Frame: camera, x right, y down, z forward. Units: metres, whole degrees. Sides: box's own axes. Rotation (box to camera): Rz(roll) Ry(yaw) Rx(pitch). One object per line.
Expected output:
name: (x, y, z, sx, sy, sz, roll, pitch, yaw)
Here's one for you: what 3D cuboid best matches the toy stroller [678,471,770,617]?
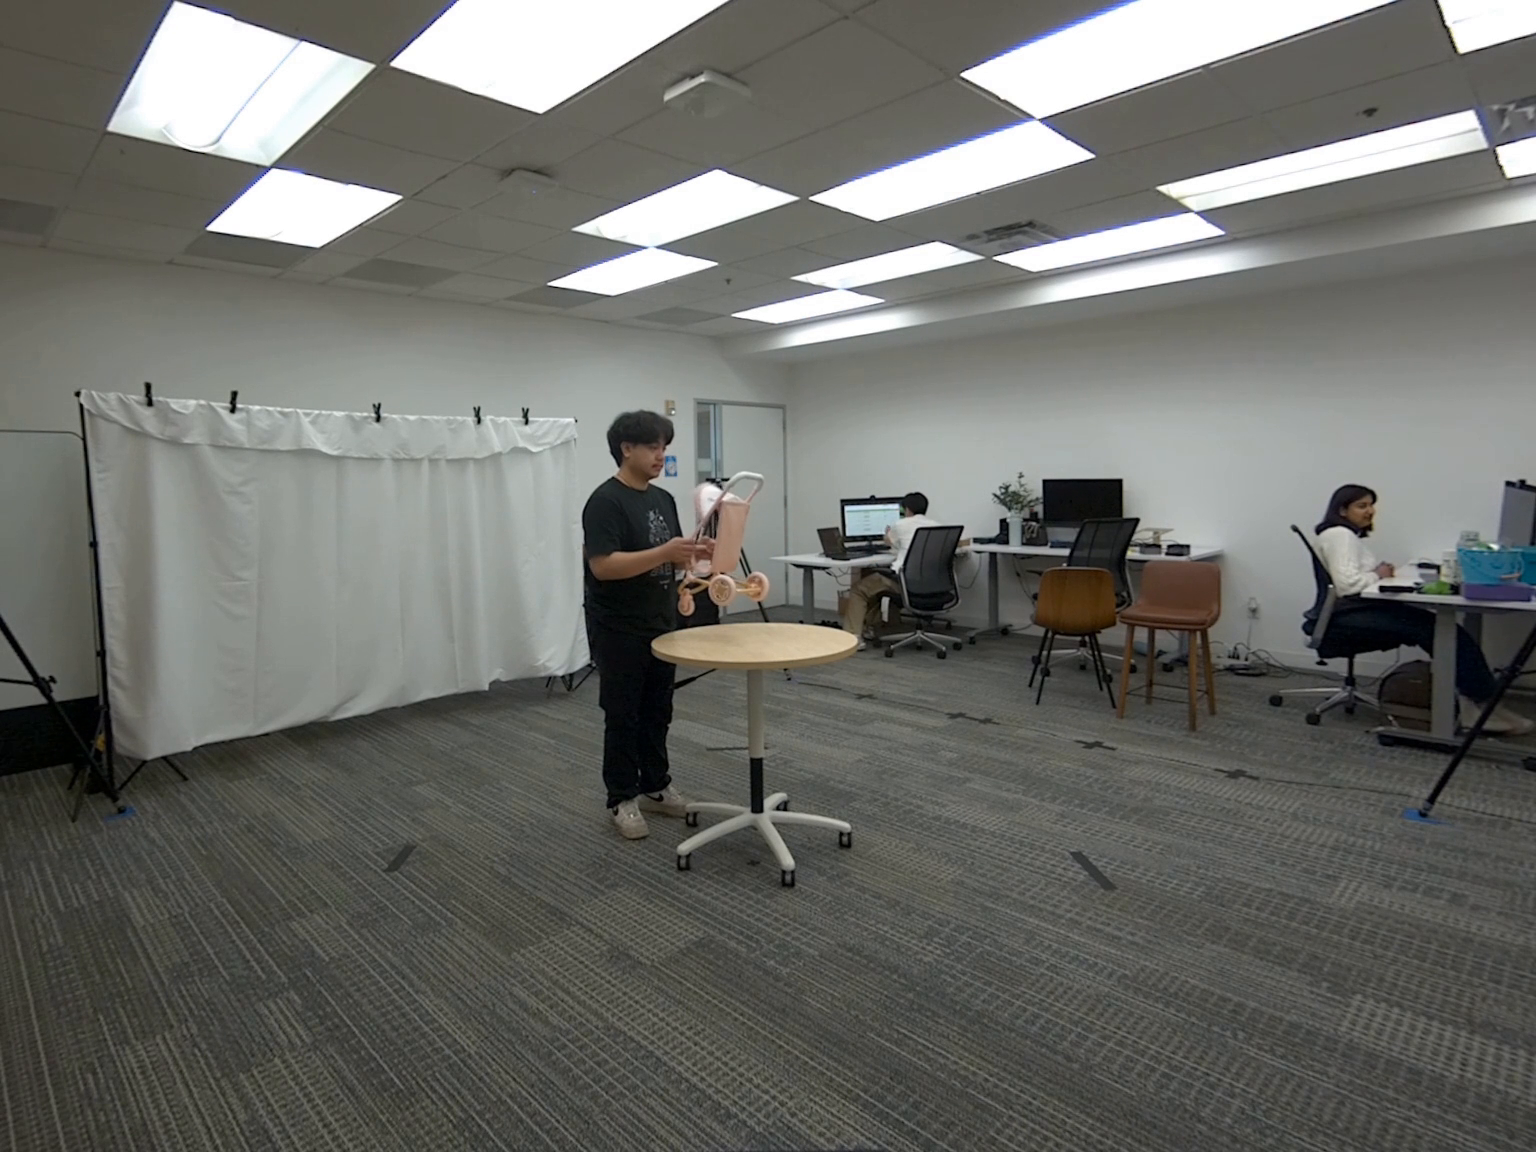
toy stroller: (-0.189, -0.111, 3.203, 0.351, 0.535, 0.274, 0, 1, 35)
